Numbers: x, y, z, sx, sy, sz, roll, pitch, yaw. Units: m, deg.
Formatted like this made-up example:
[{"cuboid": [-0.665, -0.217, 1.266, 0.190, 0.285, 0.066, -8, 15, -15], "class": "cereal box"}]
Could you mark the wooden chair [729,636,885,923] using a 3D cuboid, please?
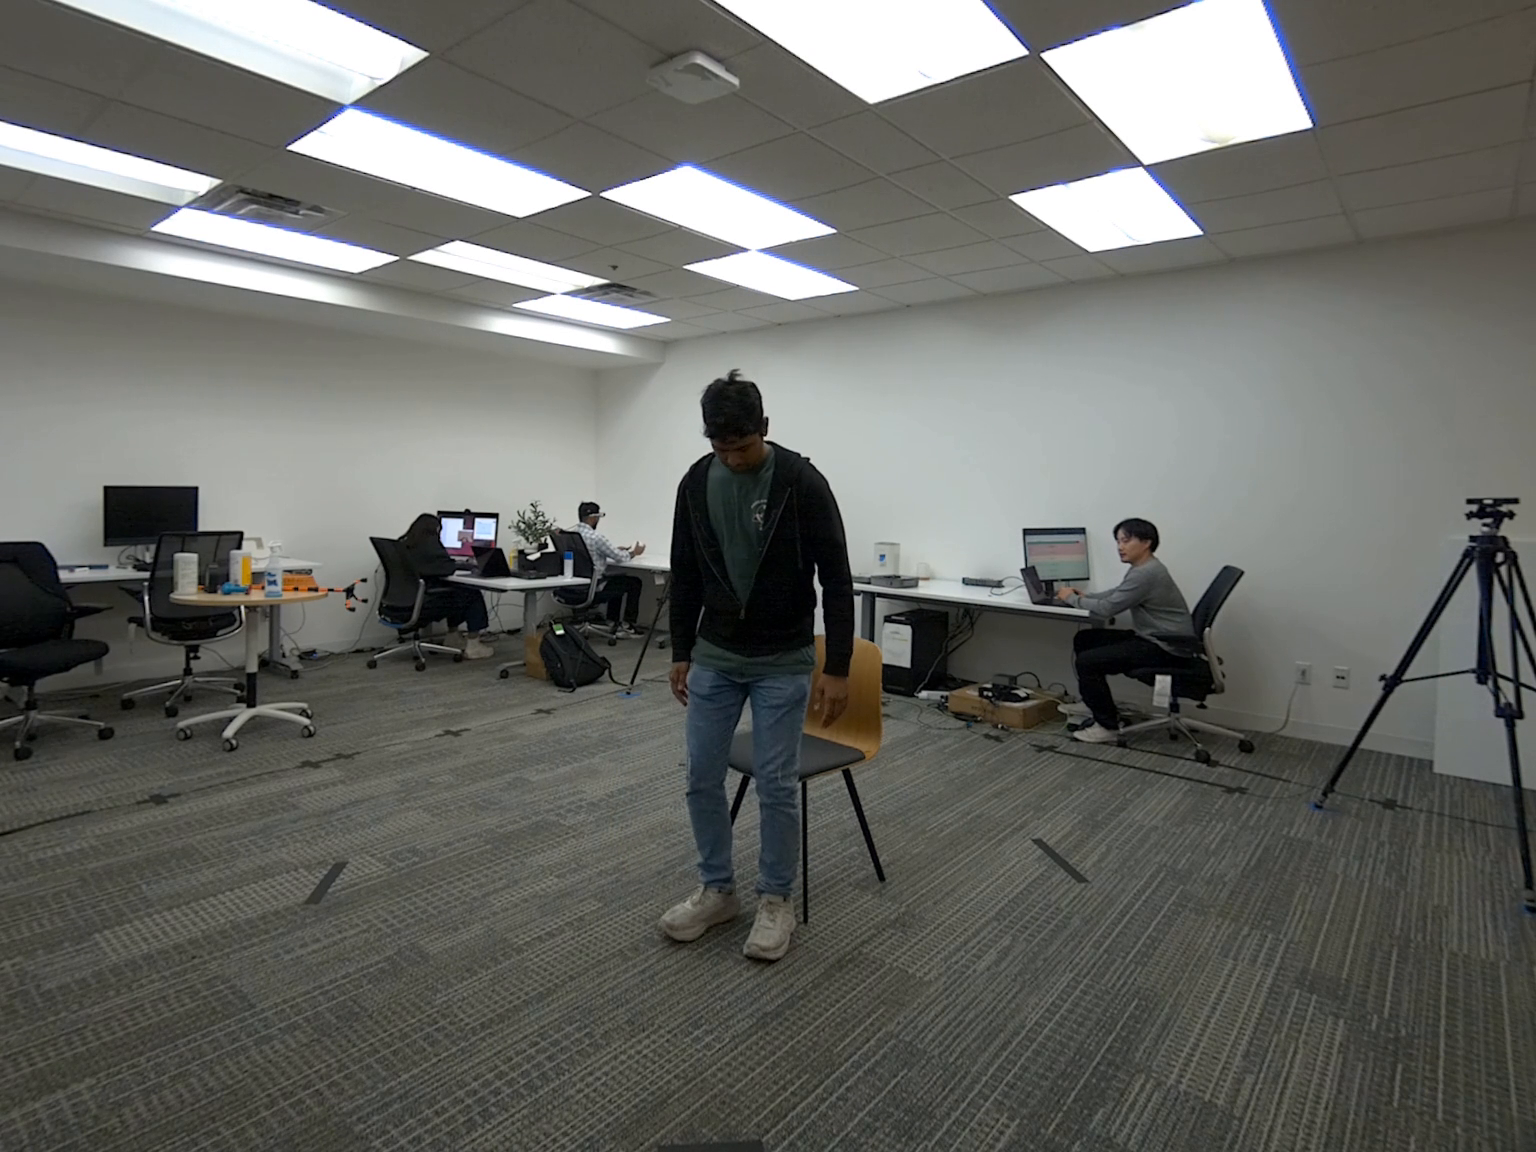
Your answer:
[{"cuboid": [0.099, 0.654, 3.005, 0.494, 0.877, 0.506, 5, 1, 44], "class": "wooden chair"}]
